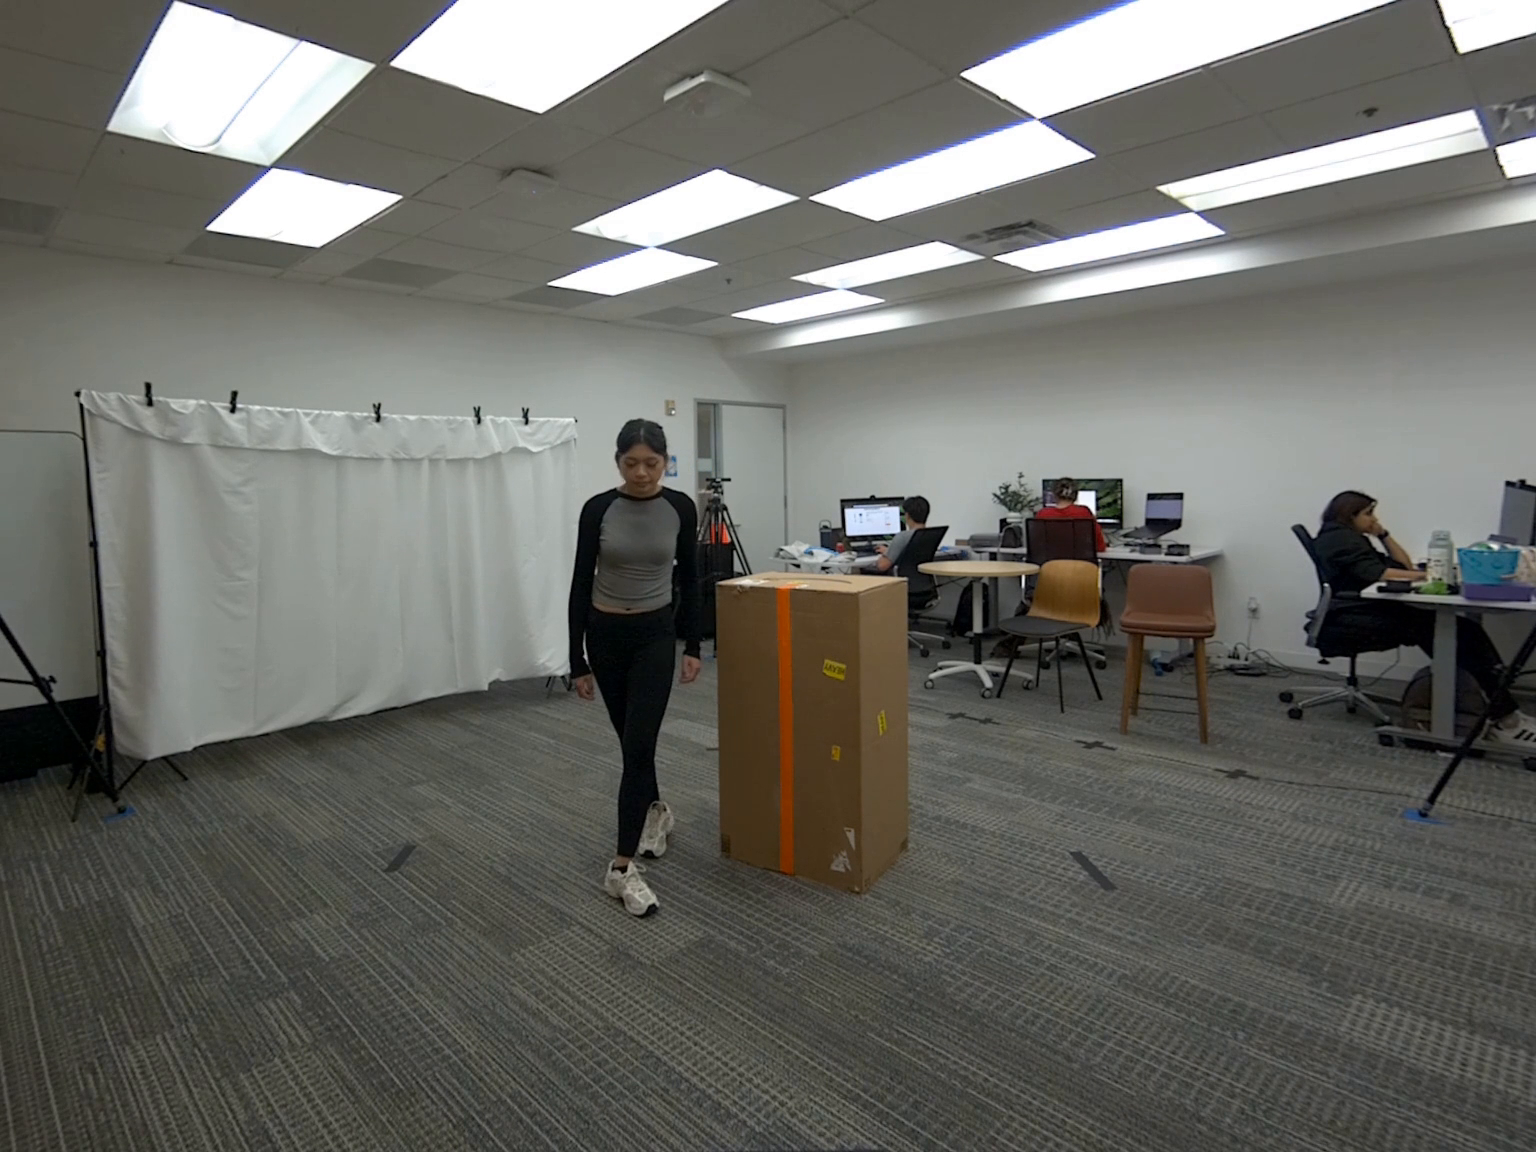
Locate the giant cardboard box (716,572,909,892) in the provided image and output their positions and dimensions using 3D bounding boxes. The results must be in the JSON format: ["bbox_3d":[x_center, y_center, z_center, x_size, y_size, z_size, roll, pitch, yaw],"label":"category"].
[{"bbox_3d":[0.170,0.524,3.153,0.594,1.022,0.416,2,5,34],"label":"giant cardboard box"}]
